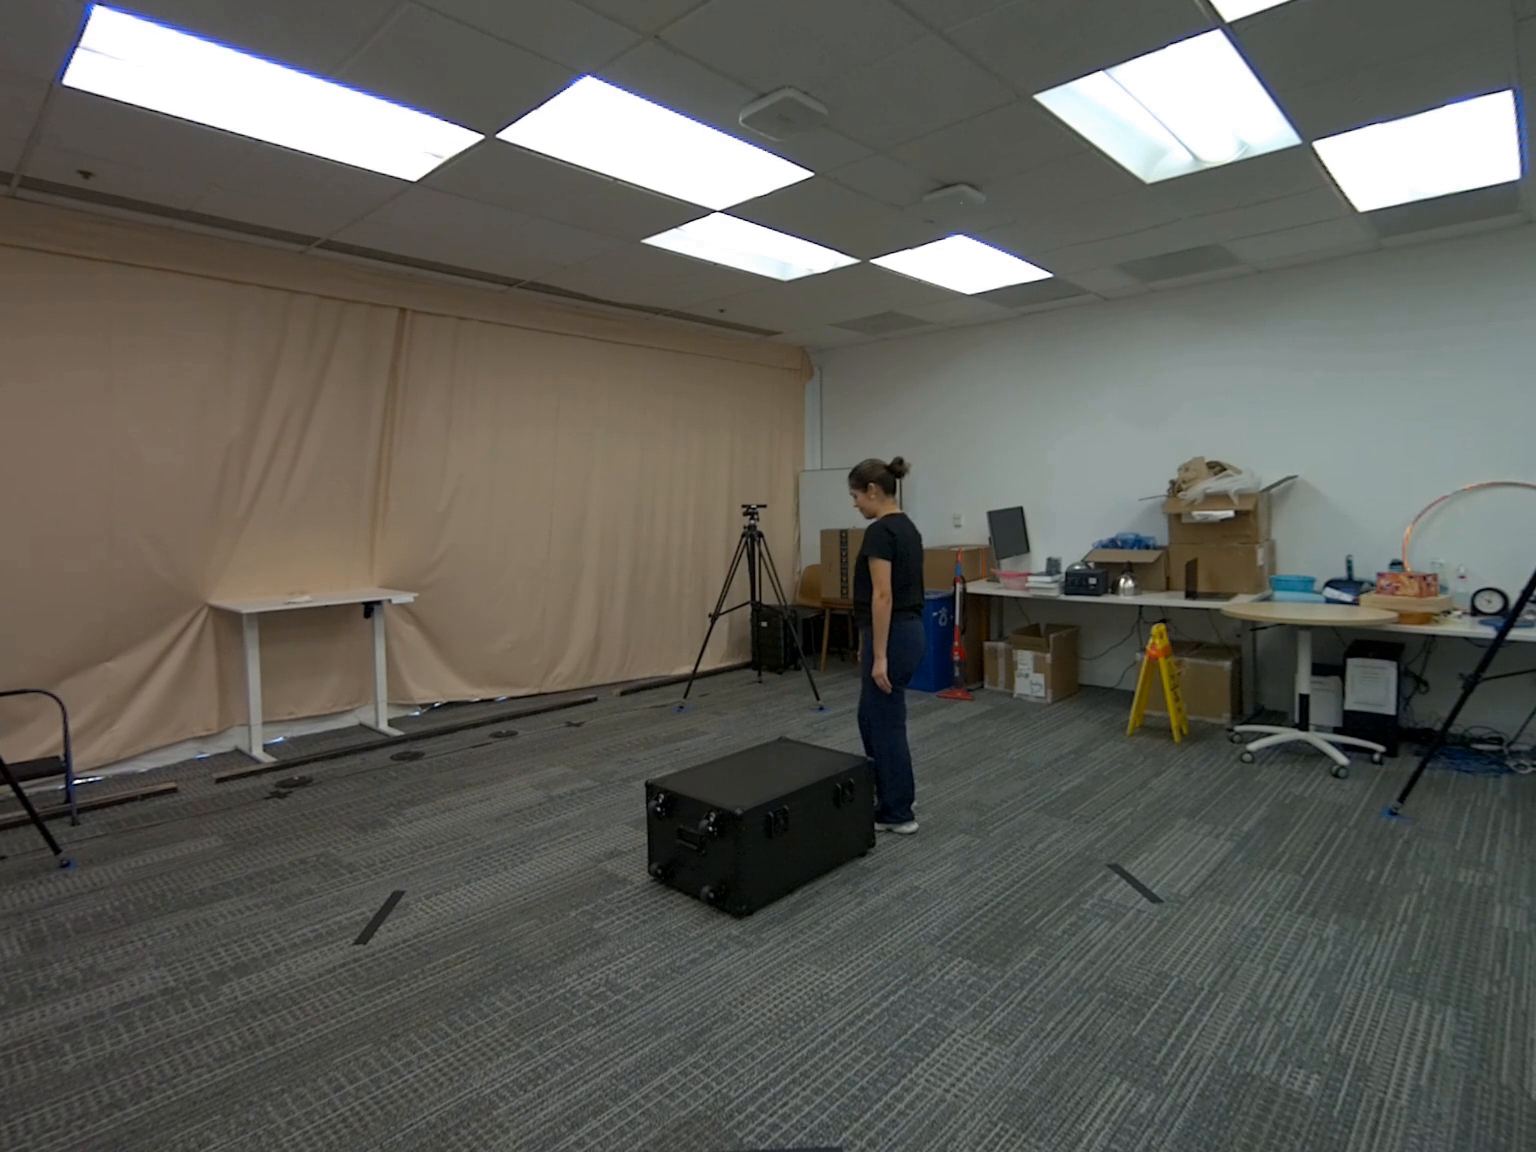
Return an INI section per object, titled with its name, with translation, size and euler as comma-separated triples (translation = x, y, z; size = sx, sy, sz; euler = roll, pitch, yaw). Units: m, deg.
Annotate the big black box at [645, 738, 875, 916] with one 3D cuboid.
[big black box]
translation = -0.025, 0.932, 3.216
size = 0.538, 0.395, 0.835
euler = 3, 5, 43
